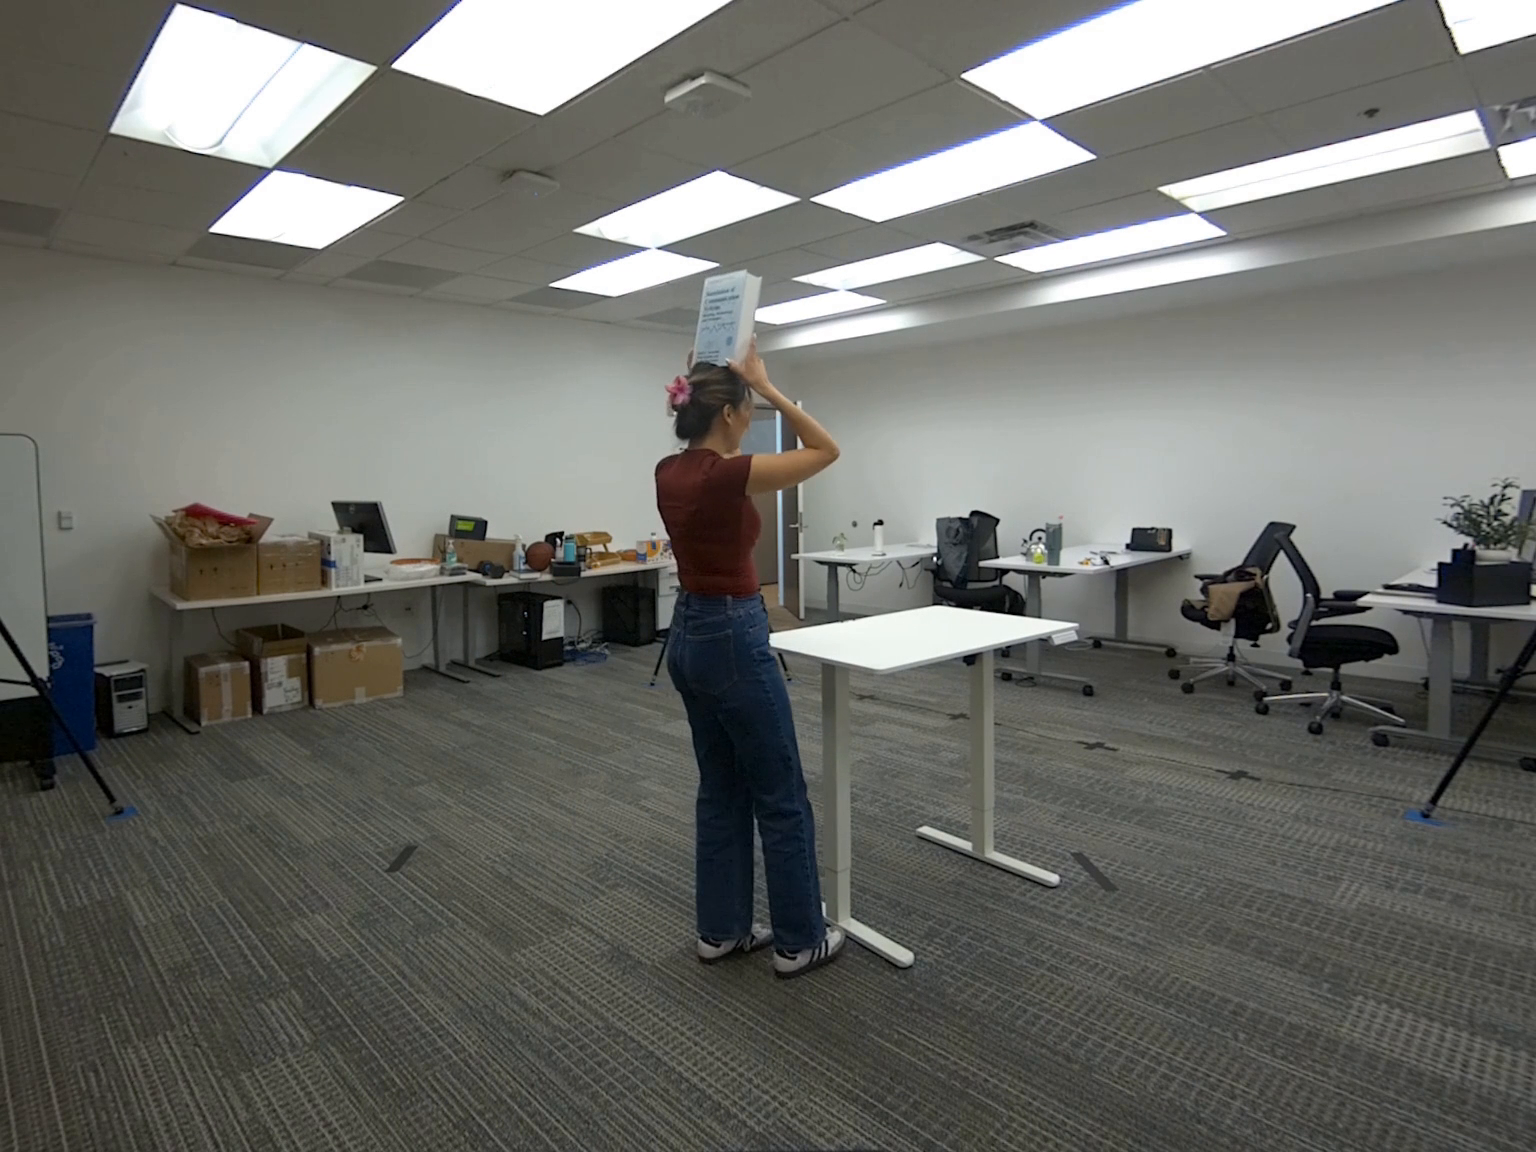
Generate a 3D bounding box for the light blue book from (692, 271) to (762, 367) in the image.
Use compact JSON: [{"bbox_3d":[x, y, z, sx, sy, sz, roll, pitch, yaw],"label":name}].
[{"bbox_3d":[-0.117,-0.705,2.381,0.057,0.261,0.198,8,1,-43],"label":"light blue book"}]
